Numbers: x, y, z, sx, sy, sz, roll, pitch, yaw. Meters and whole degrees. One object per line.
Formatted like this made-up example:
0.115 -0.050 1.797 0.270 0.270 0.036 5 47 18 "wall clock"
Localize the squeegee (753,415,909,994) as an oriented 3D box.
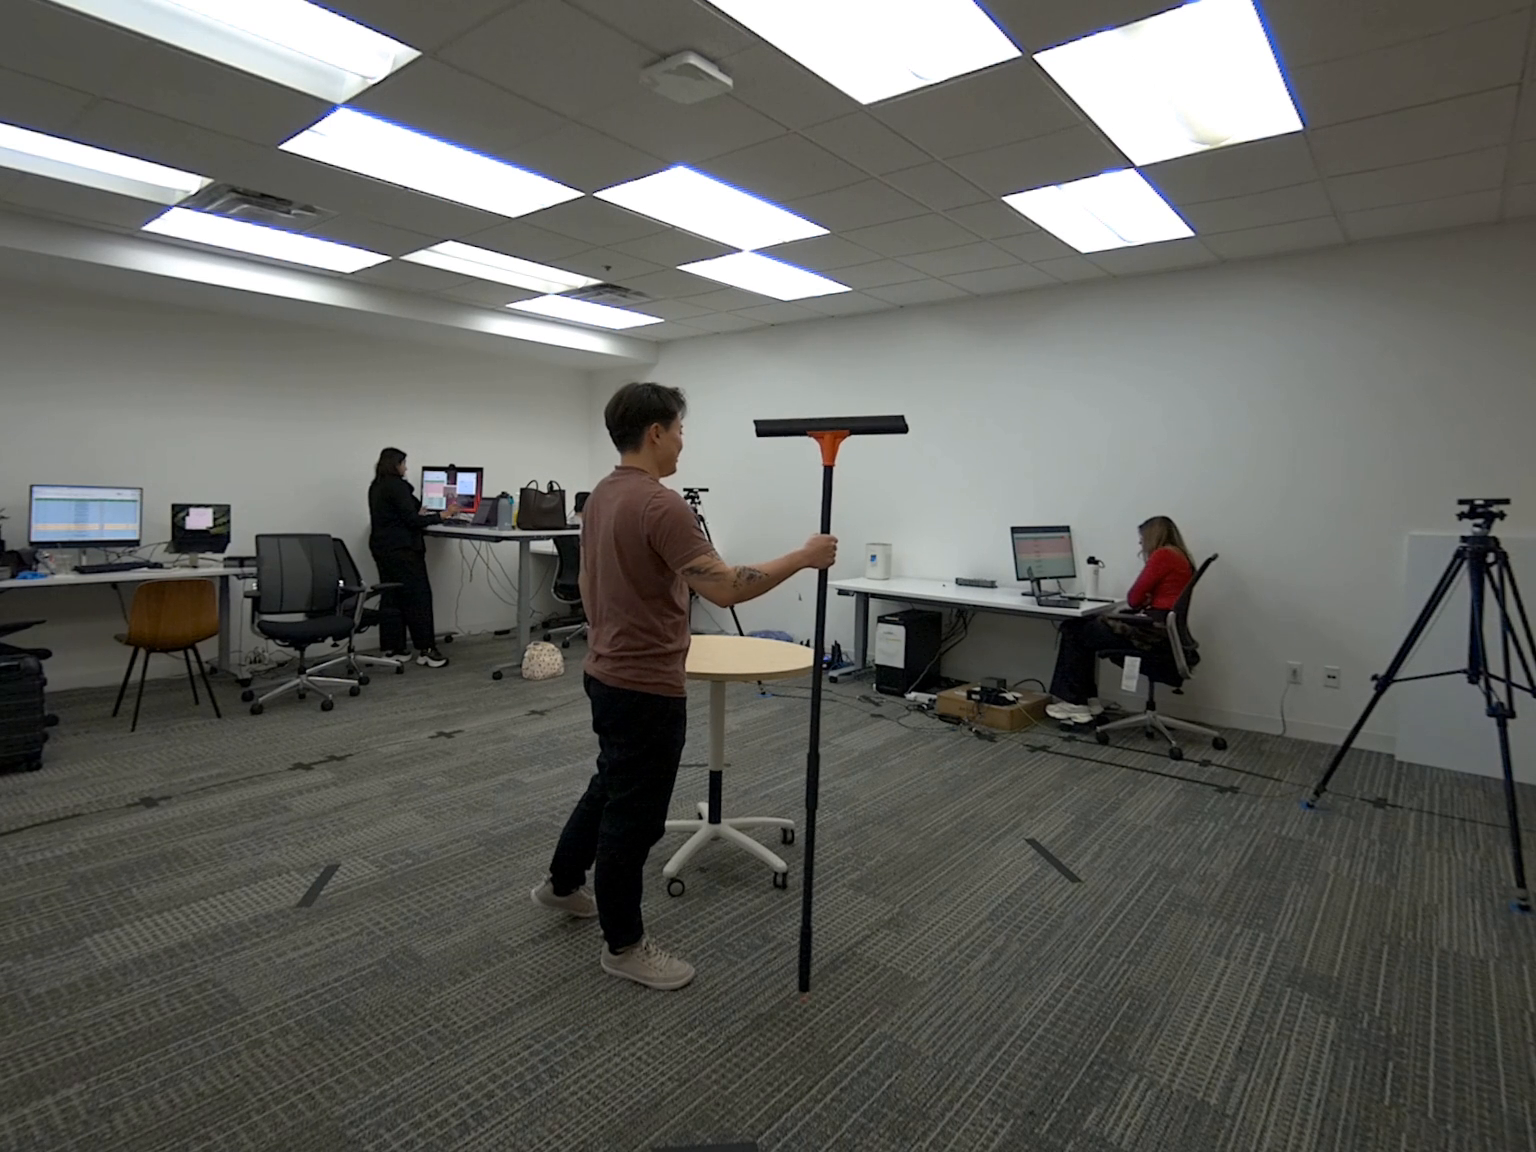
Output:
0.119 0.361 2.252 0.451 1.538 0.051 3 -1 36 "squeegee"
